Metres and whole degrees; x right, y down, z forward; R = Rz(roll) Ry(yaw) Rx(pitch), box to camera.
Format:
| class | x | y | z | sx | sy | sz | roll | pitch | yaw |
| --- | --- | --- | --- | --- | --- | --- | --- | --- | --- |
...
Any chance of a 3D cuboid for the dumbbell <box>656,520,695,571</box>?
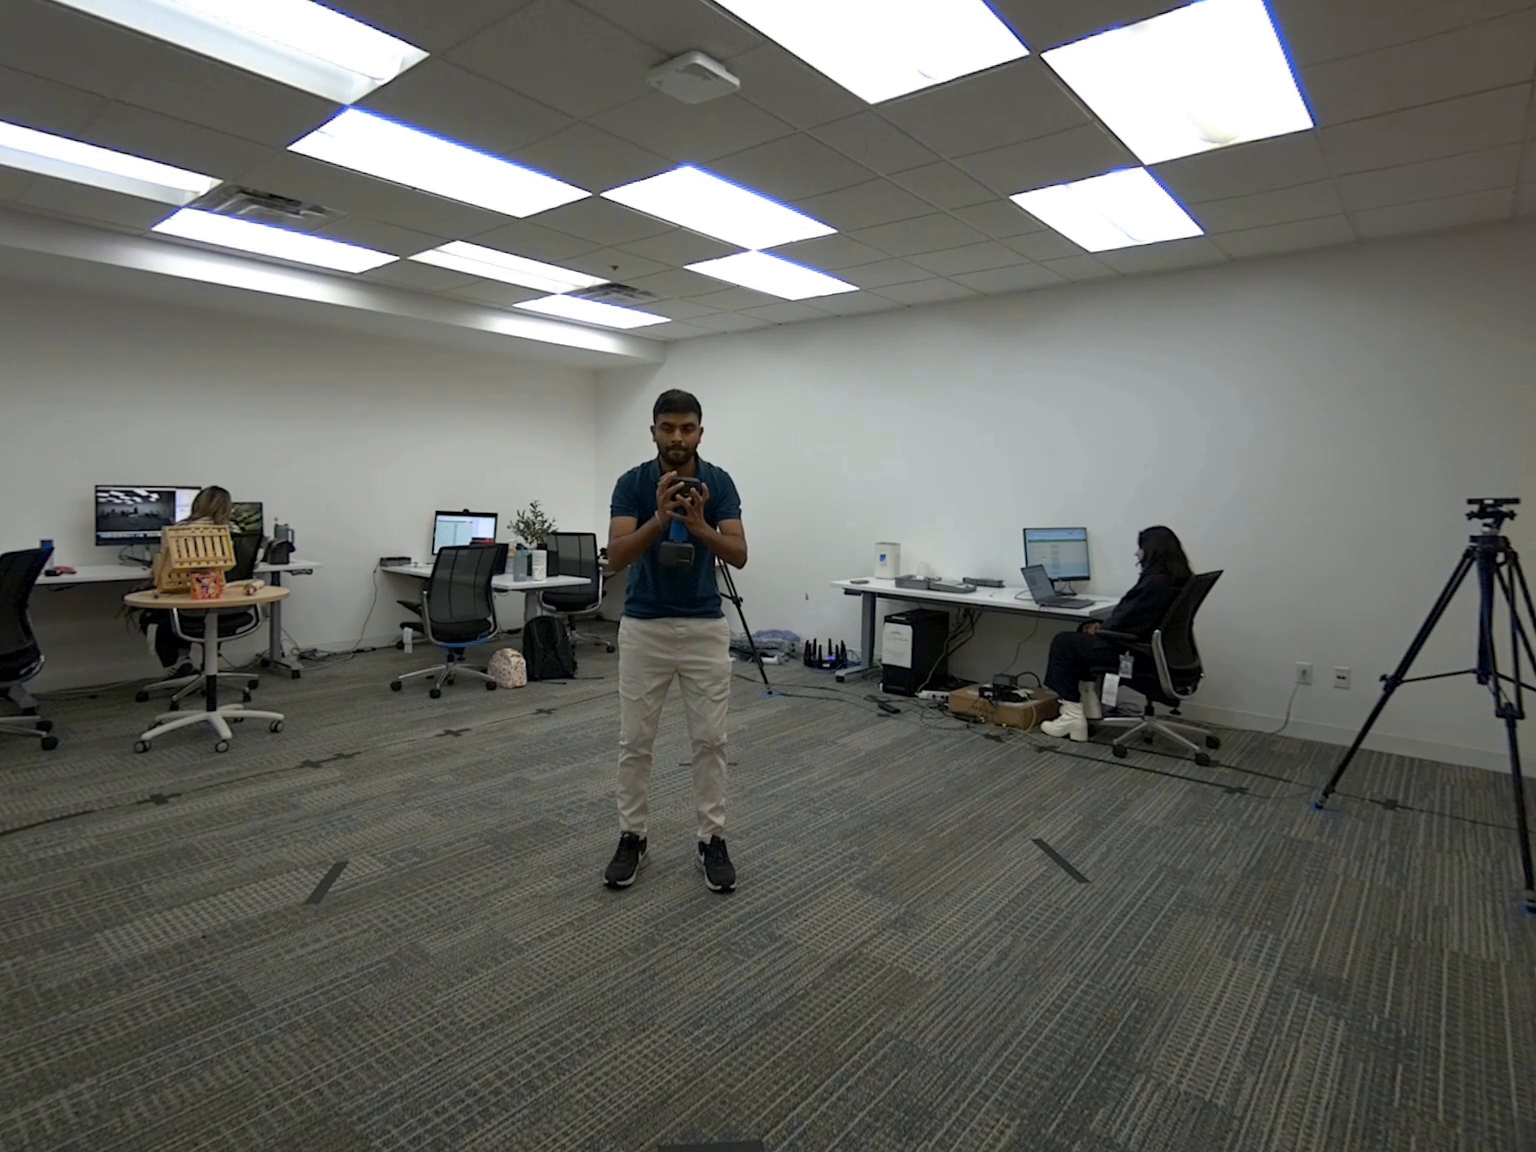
| class | x | y | z | sx | sy | sz | roll | pitch | yaw |
| --- | --- | --- | --- | --- | --- | --- | --- | --- | --- |
| dumbbell | -0.298 | -0.175 | 2.772 | 0.109 | 0.294 | 0.123 | 4 | -2 | -2 |
